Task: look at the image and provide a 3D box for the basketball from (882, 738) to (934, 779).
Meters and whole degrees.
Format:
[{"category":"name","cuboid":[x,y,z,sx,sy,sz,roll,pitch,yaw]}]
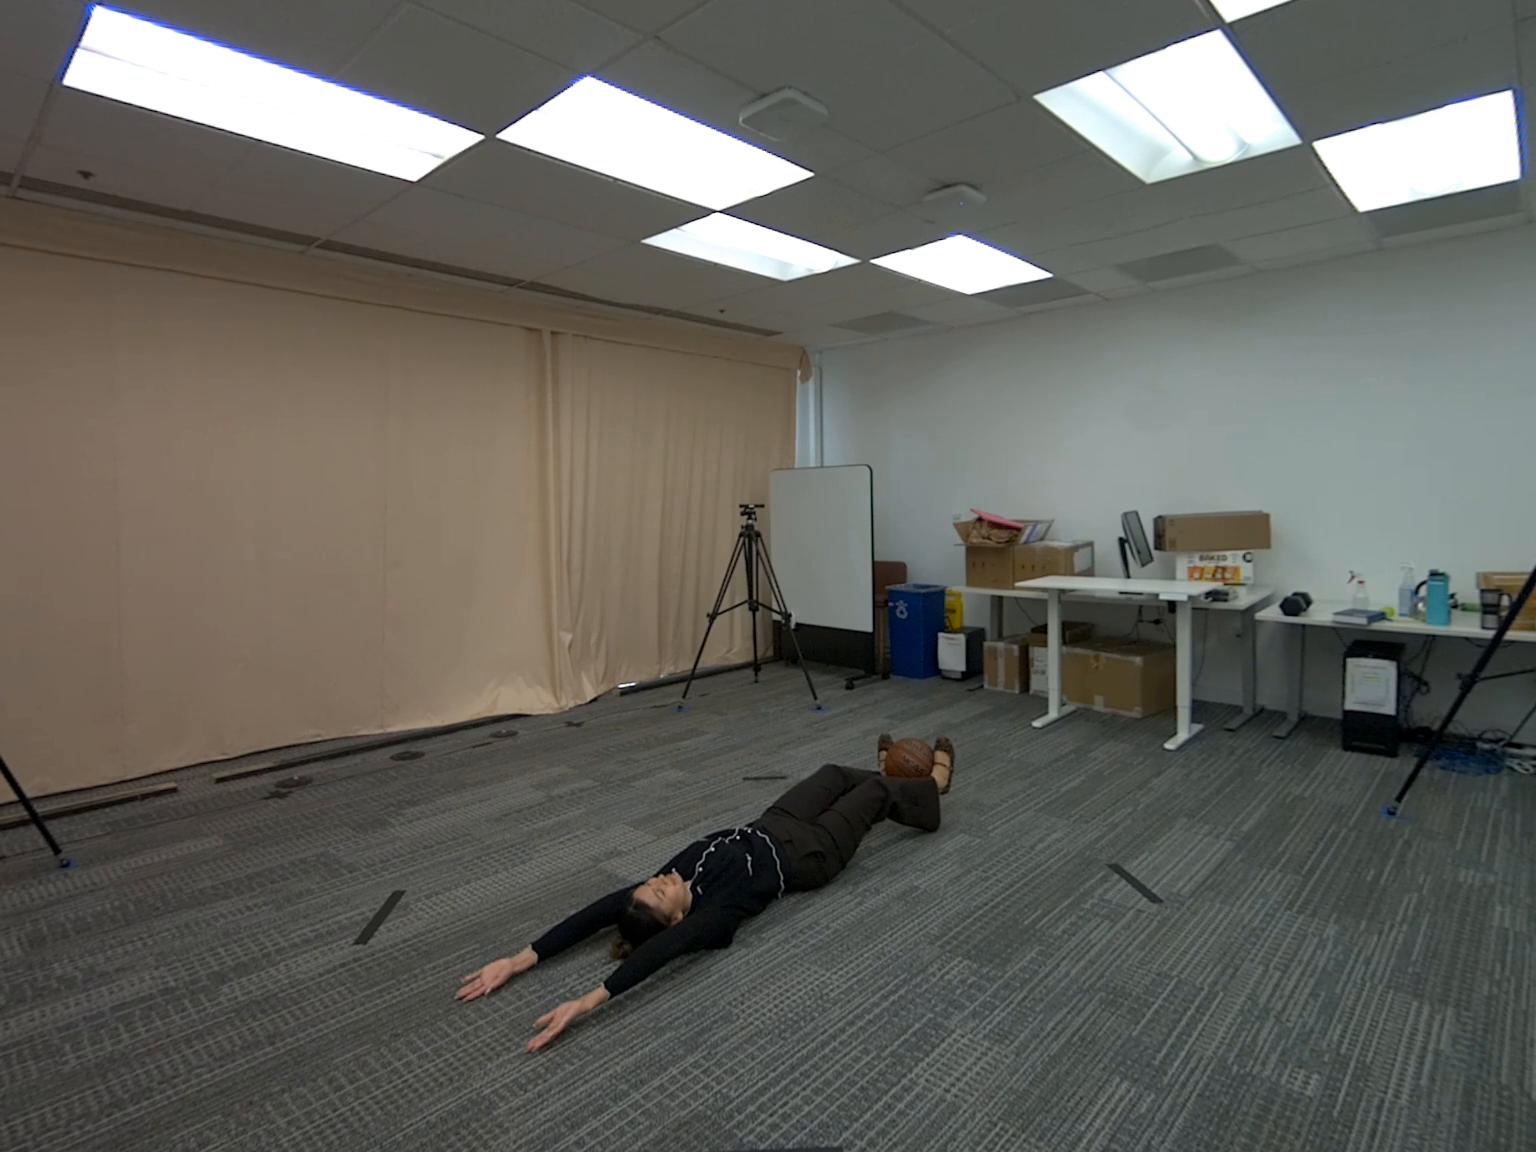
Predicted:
[{"category":"basketball","cuboid":[0.648,0.846,3.780,0.236,0.235,0.237,-1,4,-2]}]
